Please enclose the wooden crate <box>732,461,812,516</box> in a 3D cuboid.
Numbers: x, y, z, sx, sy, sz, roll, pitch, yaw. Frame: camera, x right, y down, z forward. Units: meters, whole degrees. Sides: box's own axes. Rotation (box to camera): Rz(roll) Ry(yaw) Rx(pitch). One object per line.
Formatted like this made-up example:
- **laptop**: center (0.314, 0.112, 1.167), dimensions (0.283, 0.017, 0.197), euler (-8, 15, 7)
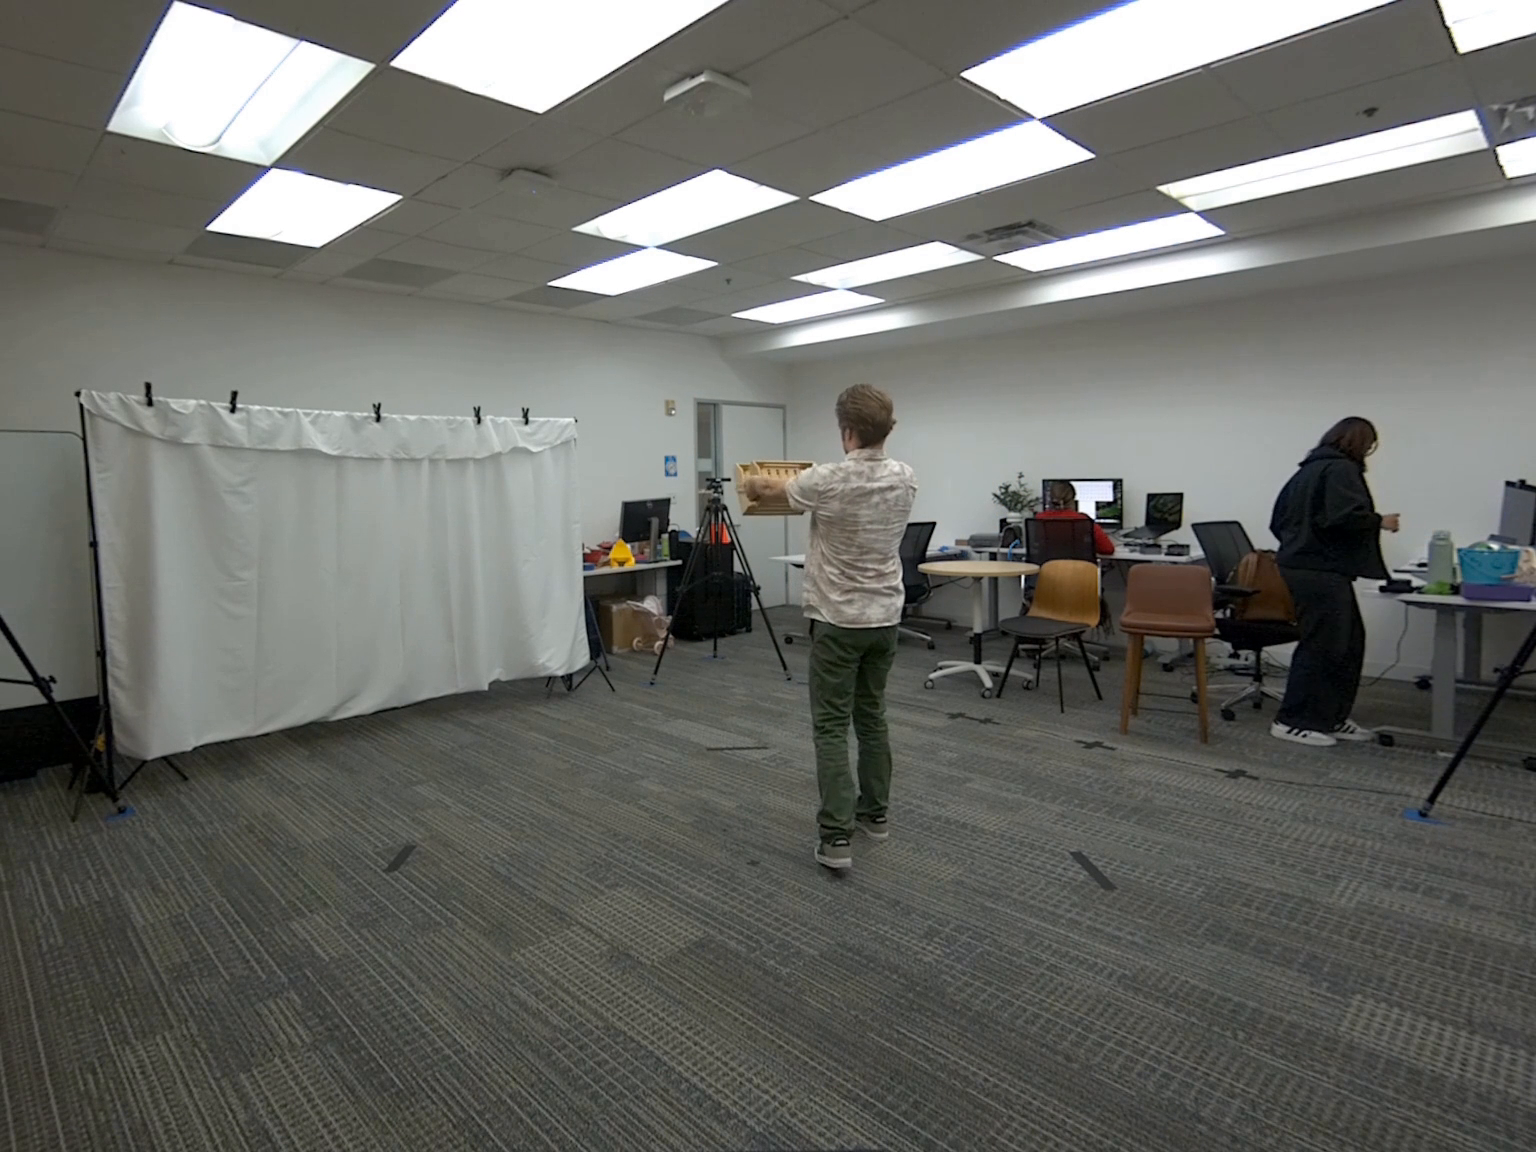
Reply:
- **wooden crate**: center (0.055, -0.422, 3.831), dimensions (0.318, 0.309, 0.272), euler (-2, -26, -22)
